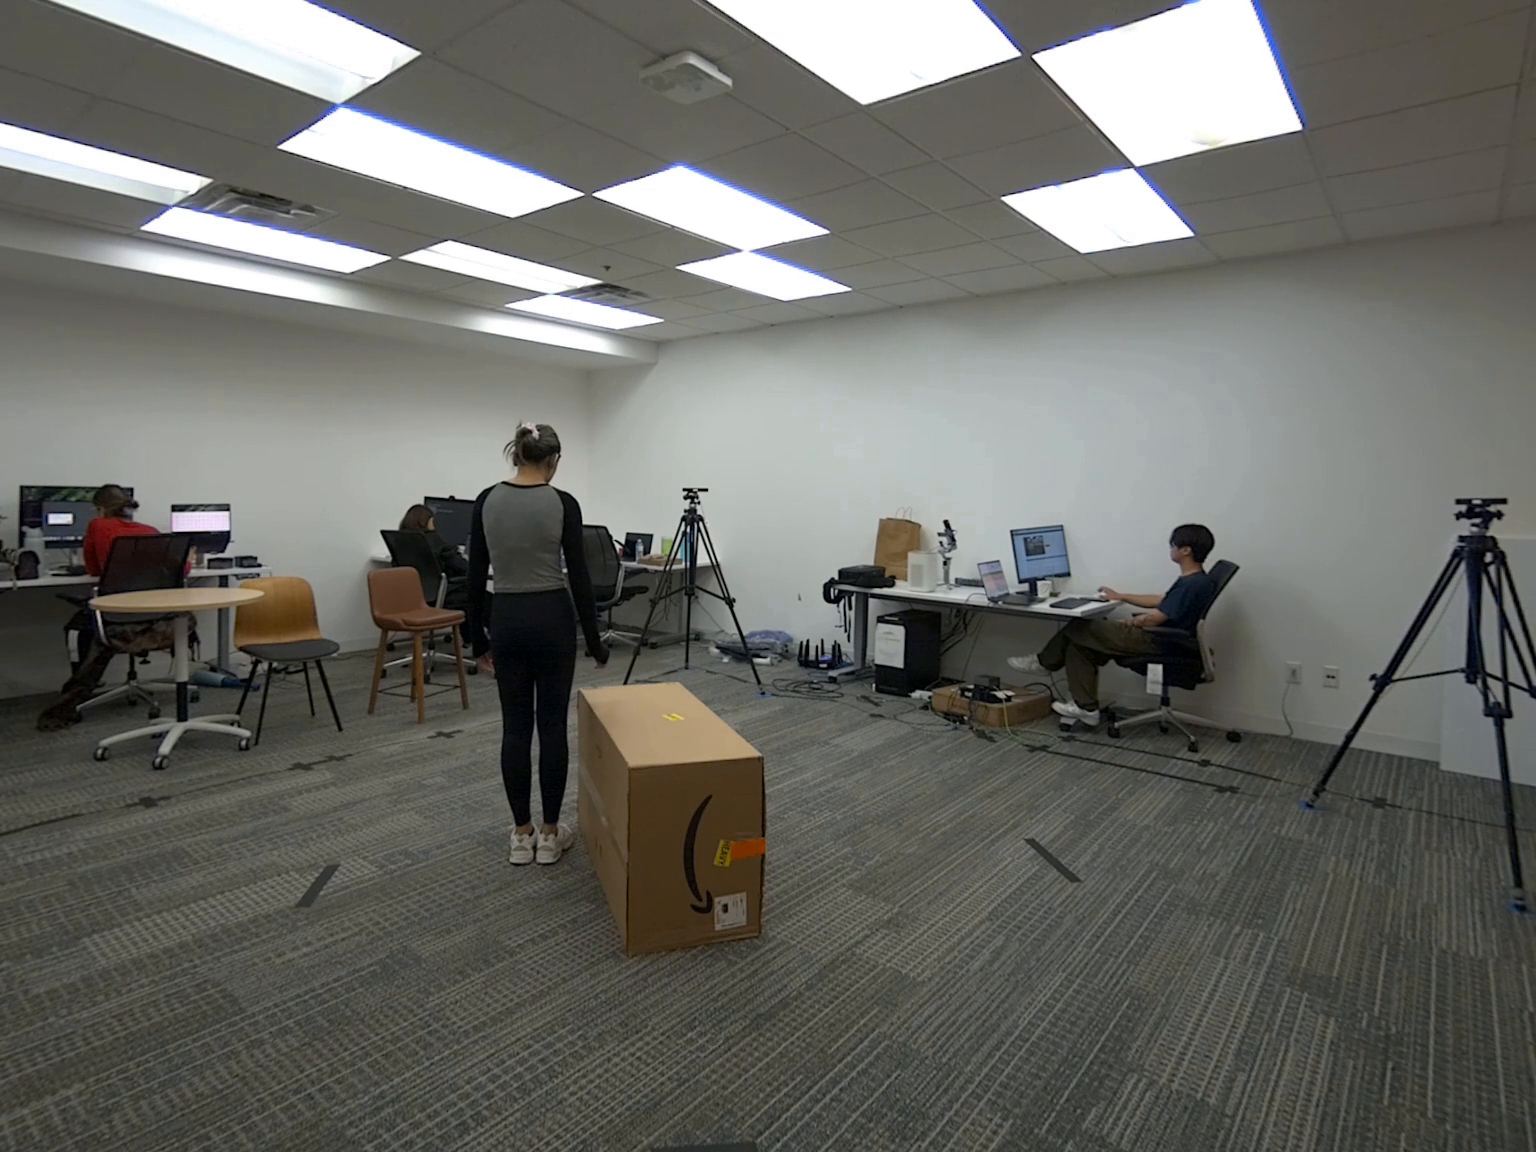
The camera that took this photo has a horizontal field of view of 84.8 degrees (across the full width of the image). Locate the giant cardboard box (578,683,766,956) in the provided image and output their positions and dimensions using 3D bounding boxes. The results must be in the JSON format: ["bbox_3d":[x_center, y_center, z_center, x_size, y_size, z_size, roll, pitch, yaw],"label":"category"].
[{"bbox_3d":[-0.399,0.783,3.043,0.418,0.575,1.050,-1,5,-20],"label":"giant cardboard box"}]
